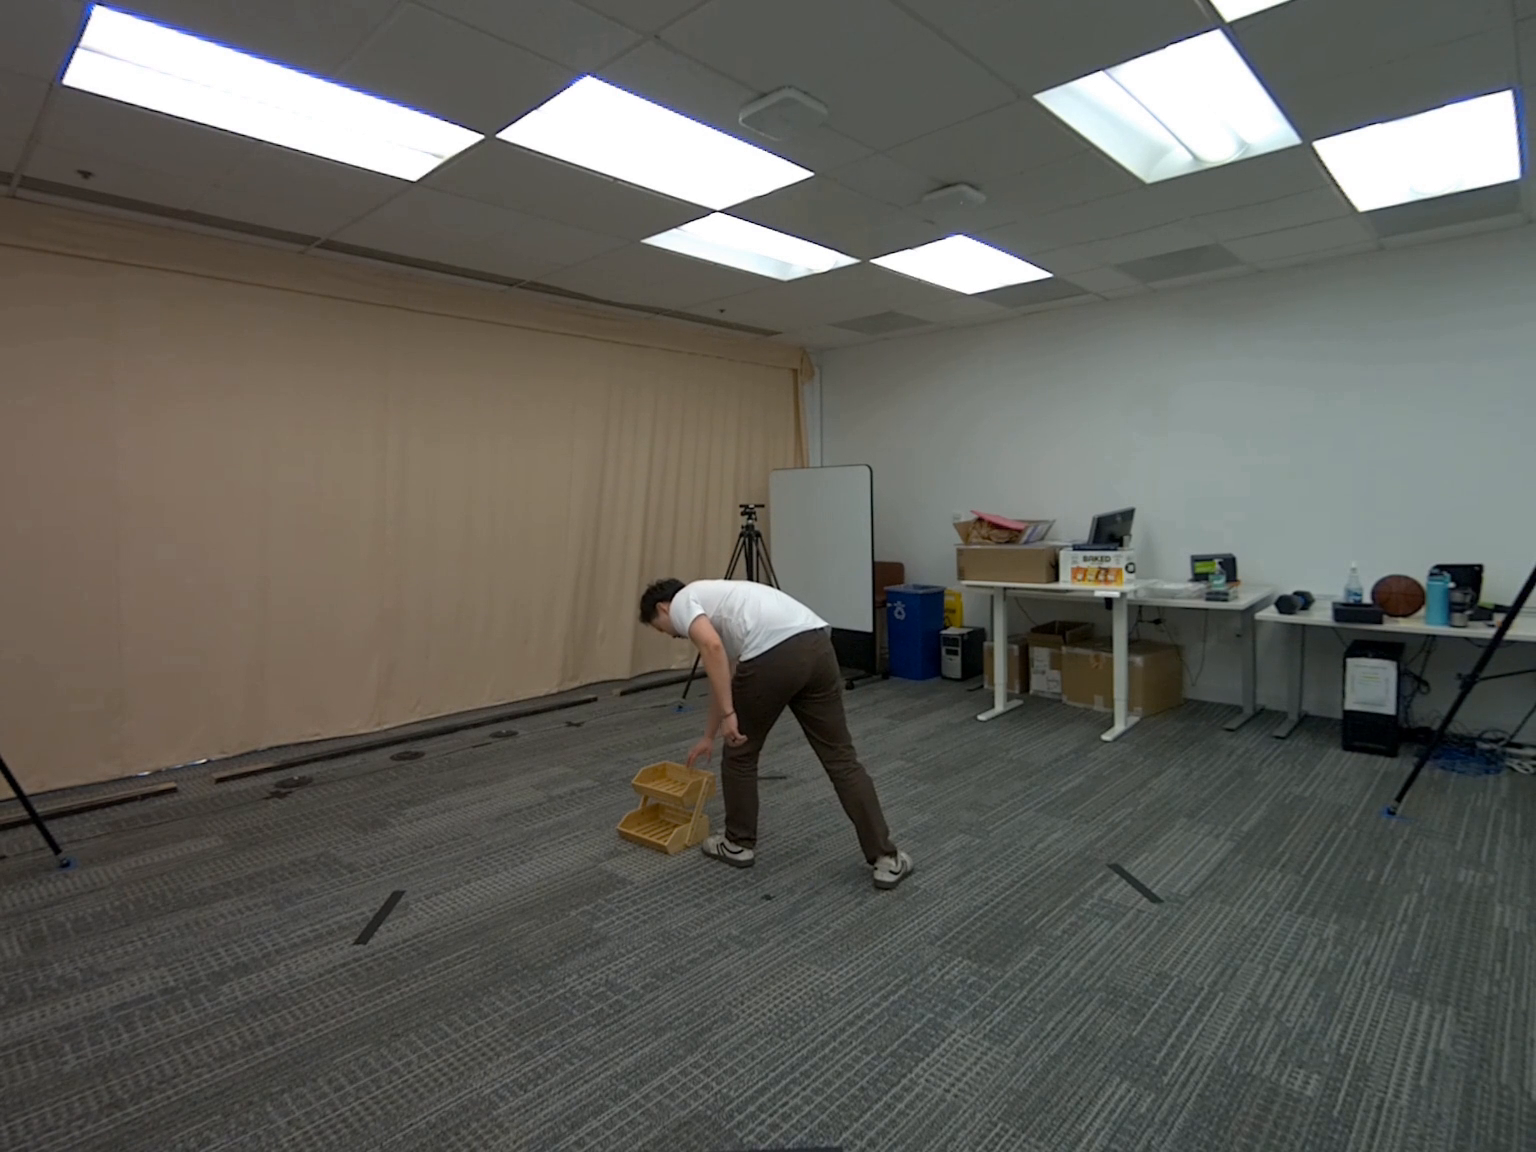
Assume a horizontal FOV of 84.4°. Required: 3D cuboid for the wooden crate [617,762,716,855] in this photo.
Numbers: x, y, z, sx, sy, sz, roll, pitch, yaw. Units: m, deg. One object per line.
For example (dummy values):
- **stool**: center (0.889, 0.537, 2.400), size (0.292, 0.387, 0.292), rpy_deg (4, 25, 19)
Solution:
- **wooden crate**: center (-0.429, 0.965, 3.551), size (0.335, 0.273, 0.293), rpy_deg (2, 4, 40)
